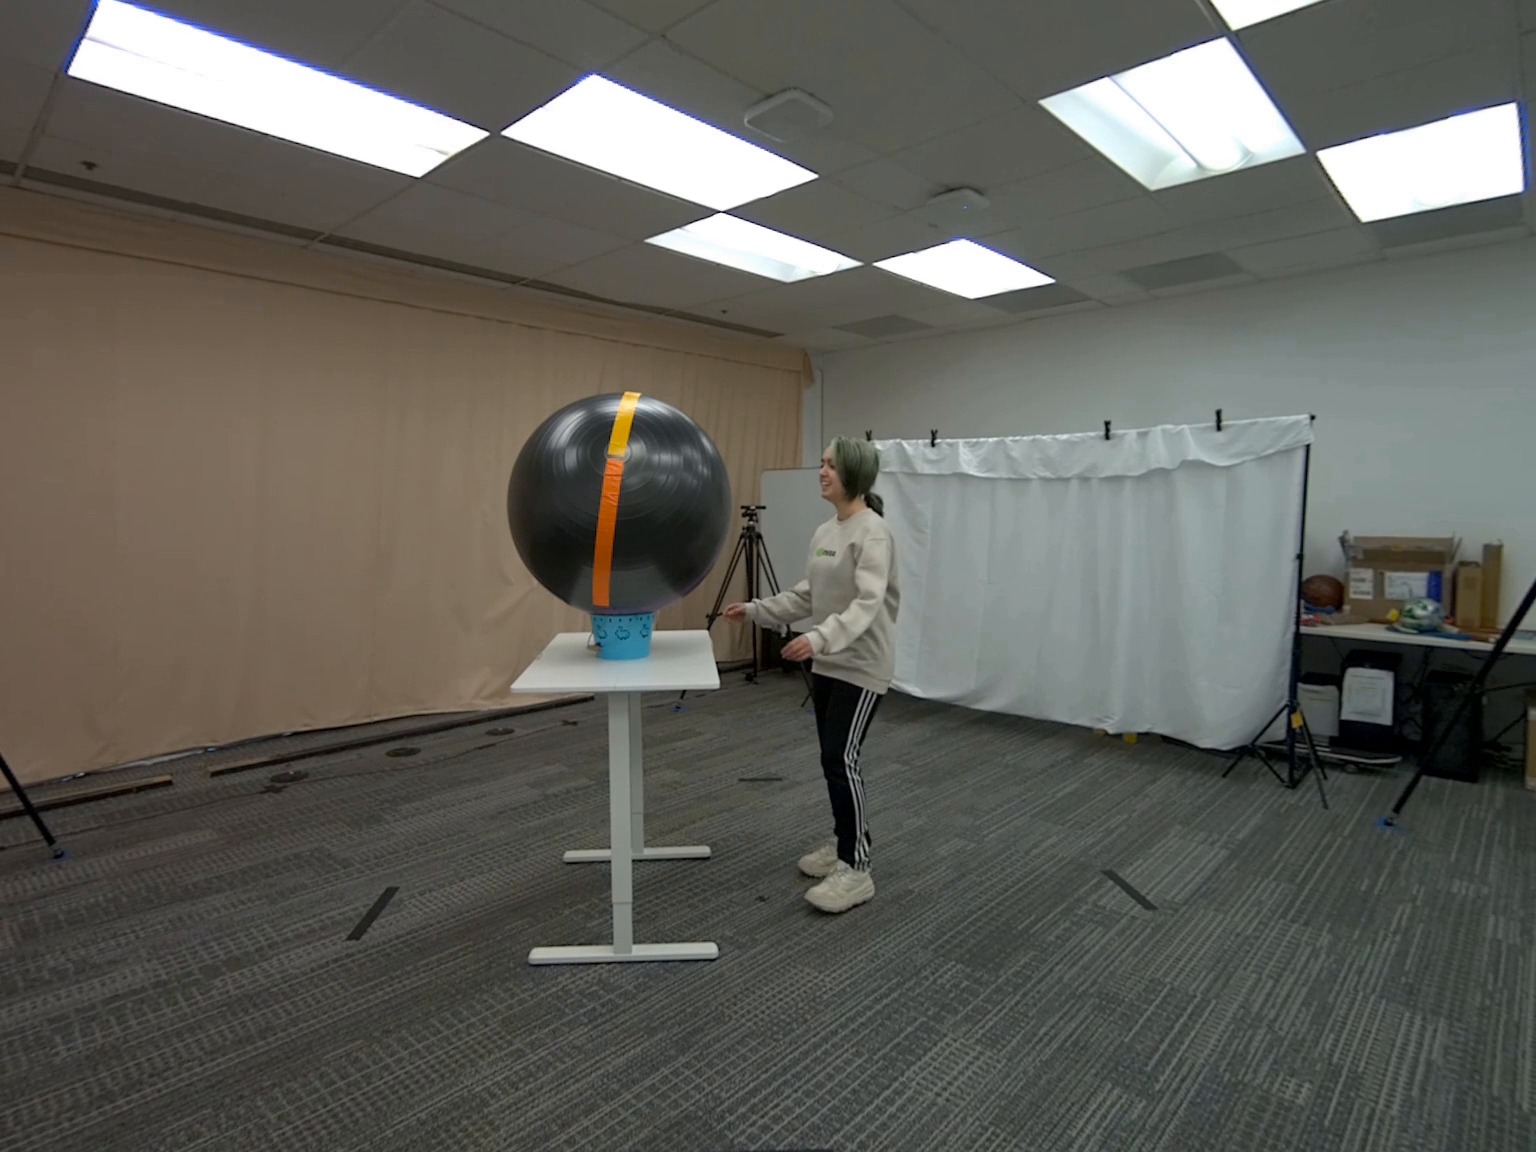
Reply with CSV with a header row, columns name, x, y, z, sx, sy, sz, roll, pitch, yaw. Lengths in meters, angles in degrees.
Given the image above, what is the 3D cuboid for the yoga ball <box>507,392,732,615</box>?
name,x,y,z,sx,sy,sz,roll,pitch,yaw
yoga ball,-0.499,-0.234,2.861,0.757,0.756,0.760,0,4,-2
